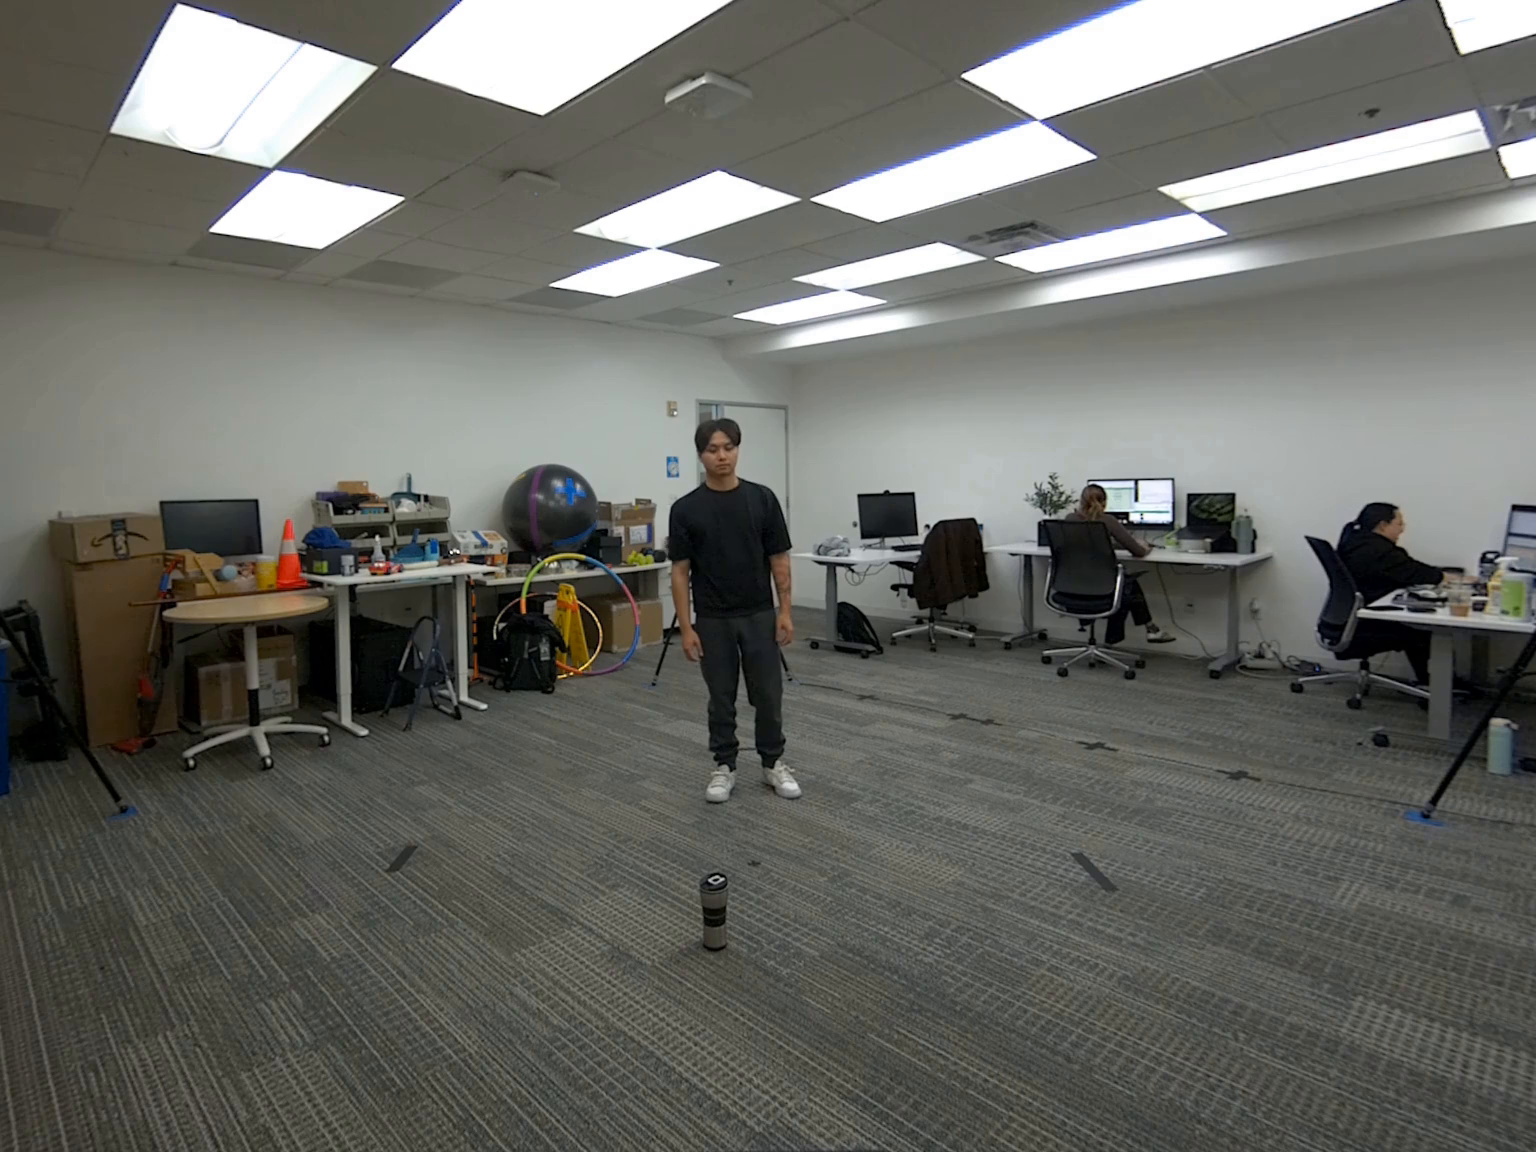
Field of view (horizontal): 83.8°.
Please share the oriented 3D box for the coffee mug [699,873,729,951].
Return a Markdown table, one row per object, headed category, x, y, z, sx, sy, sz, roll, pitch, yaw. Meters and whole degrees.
| category | x | y | z | sx | sy | sz | roll | pitch | yaw |
| --- | --- | --- | --- | --- | --- | --- | --- | --- | --- |
| coffee mug | -0.145 | 1.015 | 2.577 | 0.090 | 0.202 | 0.119 | -1 | 6 | 42 |
